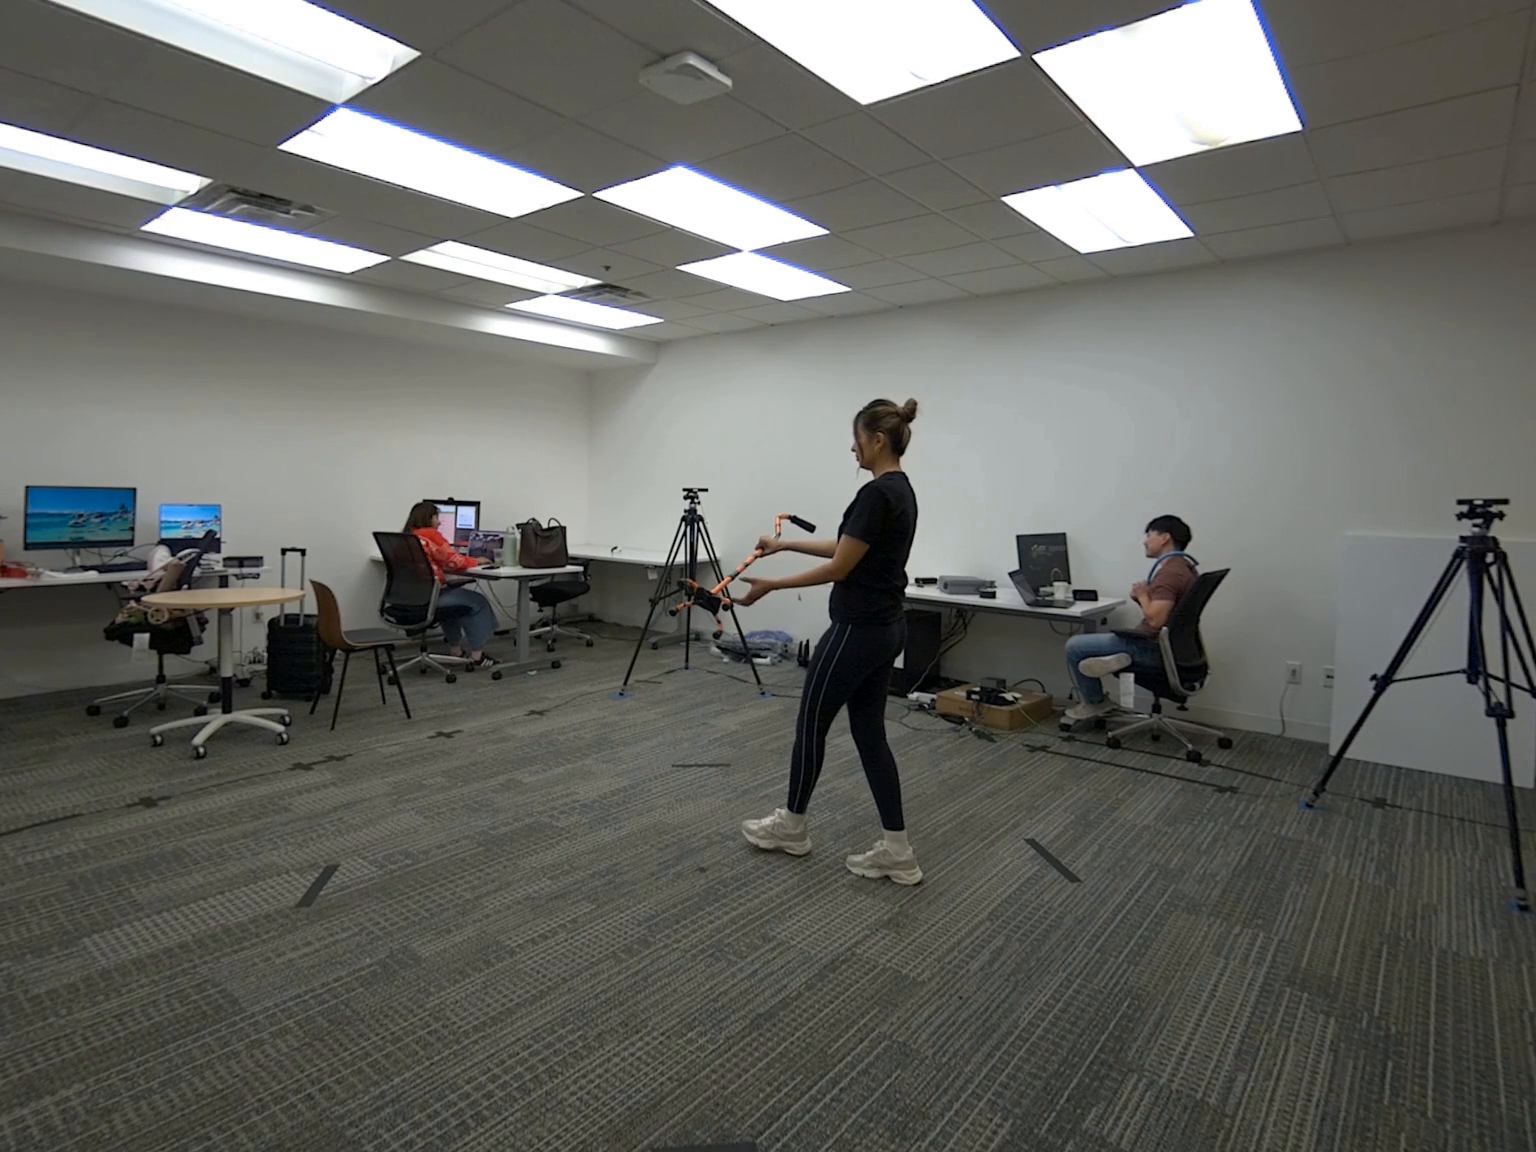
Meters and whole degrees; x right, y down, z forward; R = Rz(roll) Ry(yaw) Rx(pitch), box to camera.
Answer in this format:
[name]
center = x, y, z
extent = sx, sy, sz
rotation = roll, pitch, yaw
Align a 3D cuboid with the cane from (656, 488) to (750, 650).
[cane]
center = -0.074, -0.059, 3.267
extent = 0.211, 0.149, 0.904
rotation = 25, 31, 13
